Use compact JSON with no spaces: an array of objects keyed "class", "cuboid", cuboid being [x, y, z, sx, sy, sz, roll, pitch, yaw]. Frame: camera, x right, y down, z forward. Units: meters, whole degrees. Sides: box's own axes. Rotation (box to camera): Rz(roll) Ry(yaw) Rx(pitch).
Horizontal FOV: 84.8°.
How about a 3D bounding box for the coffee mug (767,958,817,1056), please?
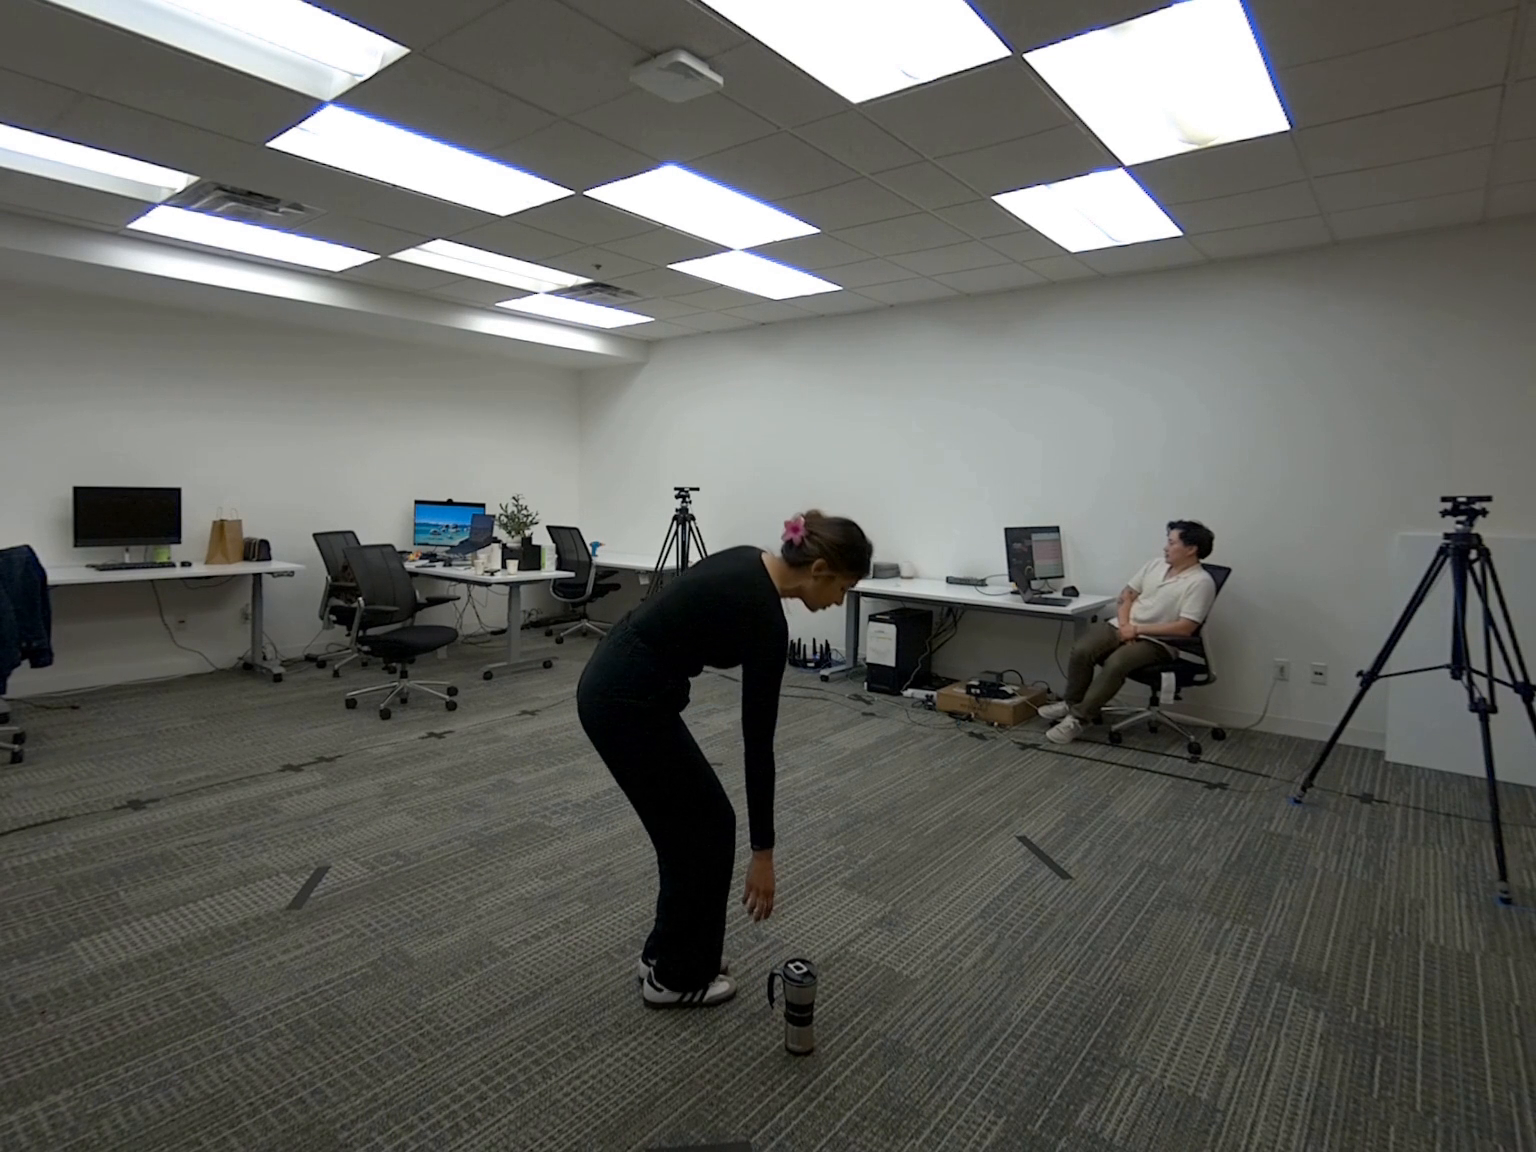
[{"class":"coffee mug","cuboid":[0.060,1.075,2.125,0.126,0.201,0.085,11,15,43]}]
